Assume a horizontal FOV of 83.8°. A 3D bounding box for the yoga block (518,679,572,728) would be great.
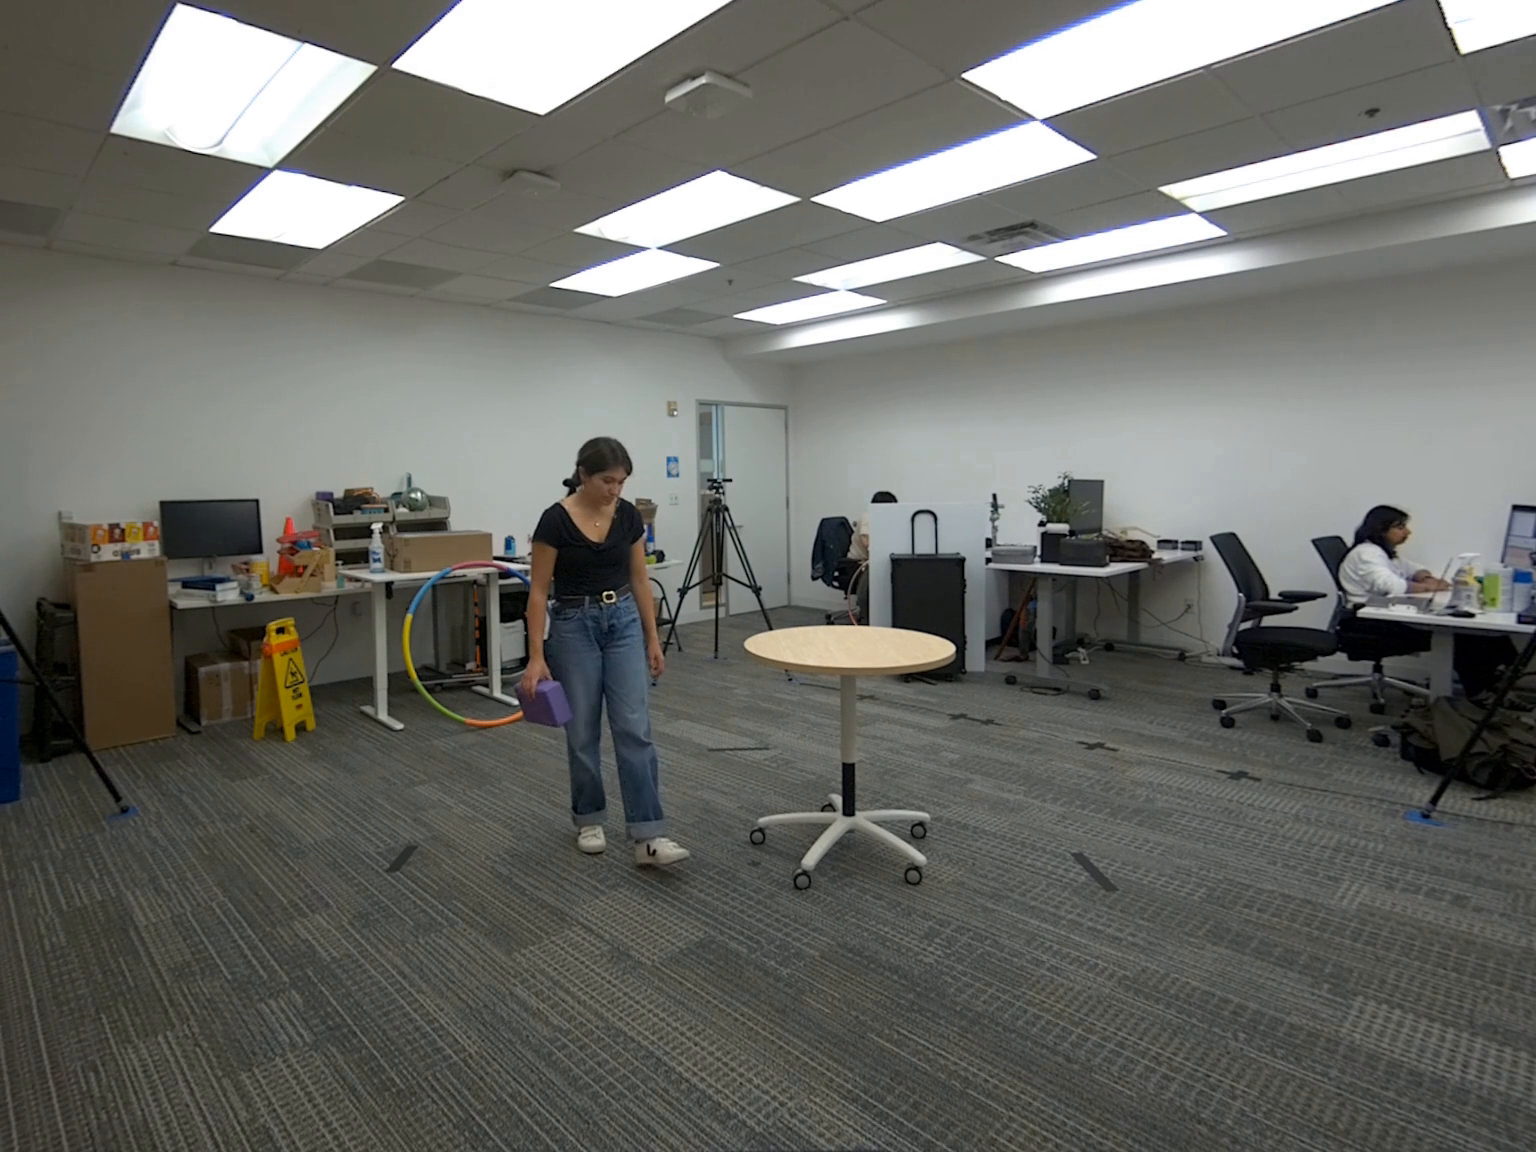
[{"bbox_3d":[-0.807,0.449,3.051,0.236,0.147,0.075,-2,17,46],"label":"yoga block"}]
